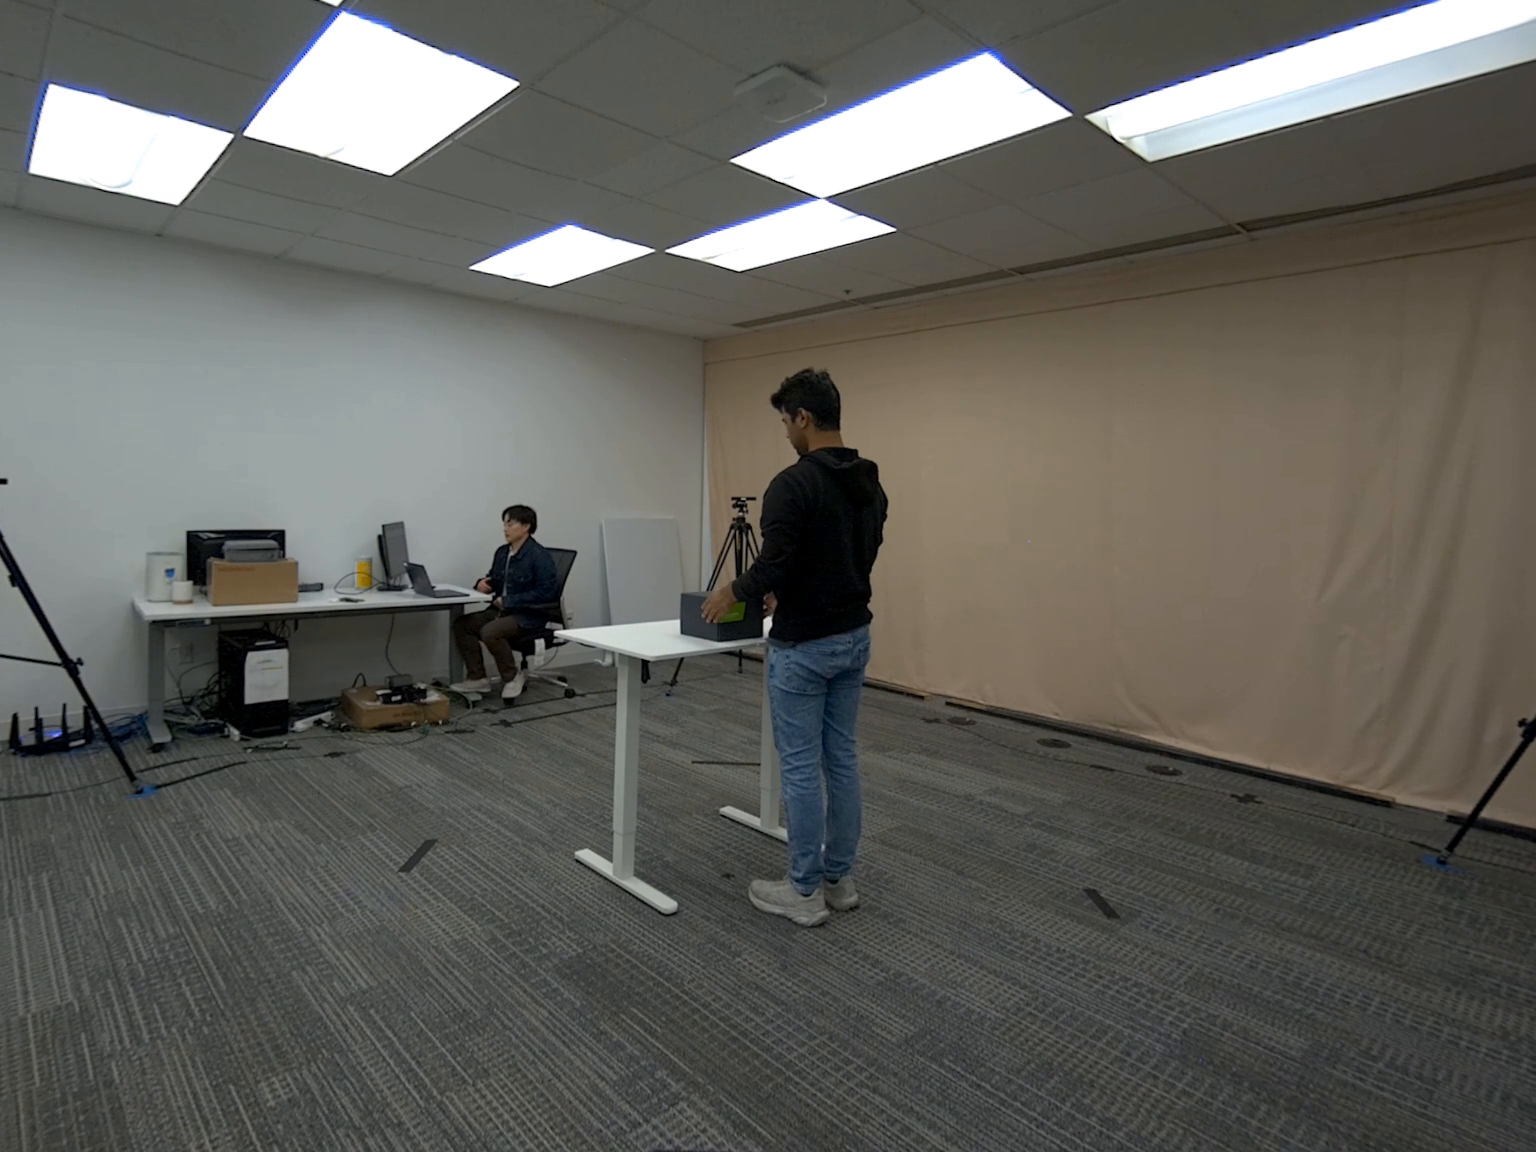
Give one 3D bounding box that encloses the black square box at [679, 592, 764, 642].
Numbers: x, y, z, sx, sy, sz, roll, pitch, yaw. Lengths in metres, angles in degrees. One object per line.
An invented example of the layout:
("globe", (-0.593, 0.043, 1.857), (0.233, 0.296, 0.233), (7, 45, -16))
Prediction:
("black square box", (-0.183, 0.138, 3.118), (0.222, 0.155, 0.223), (6, 6, 44))
